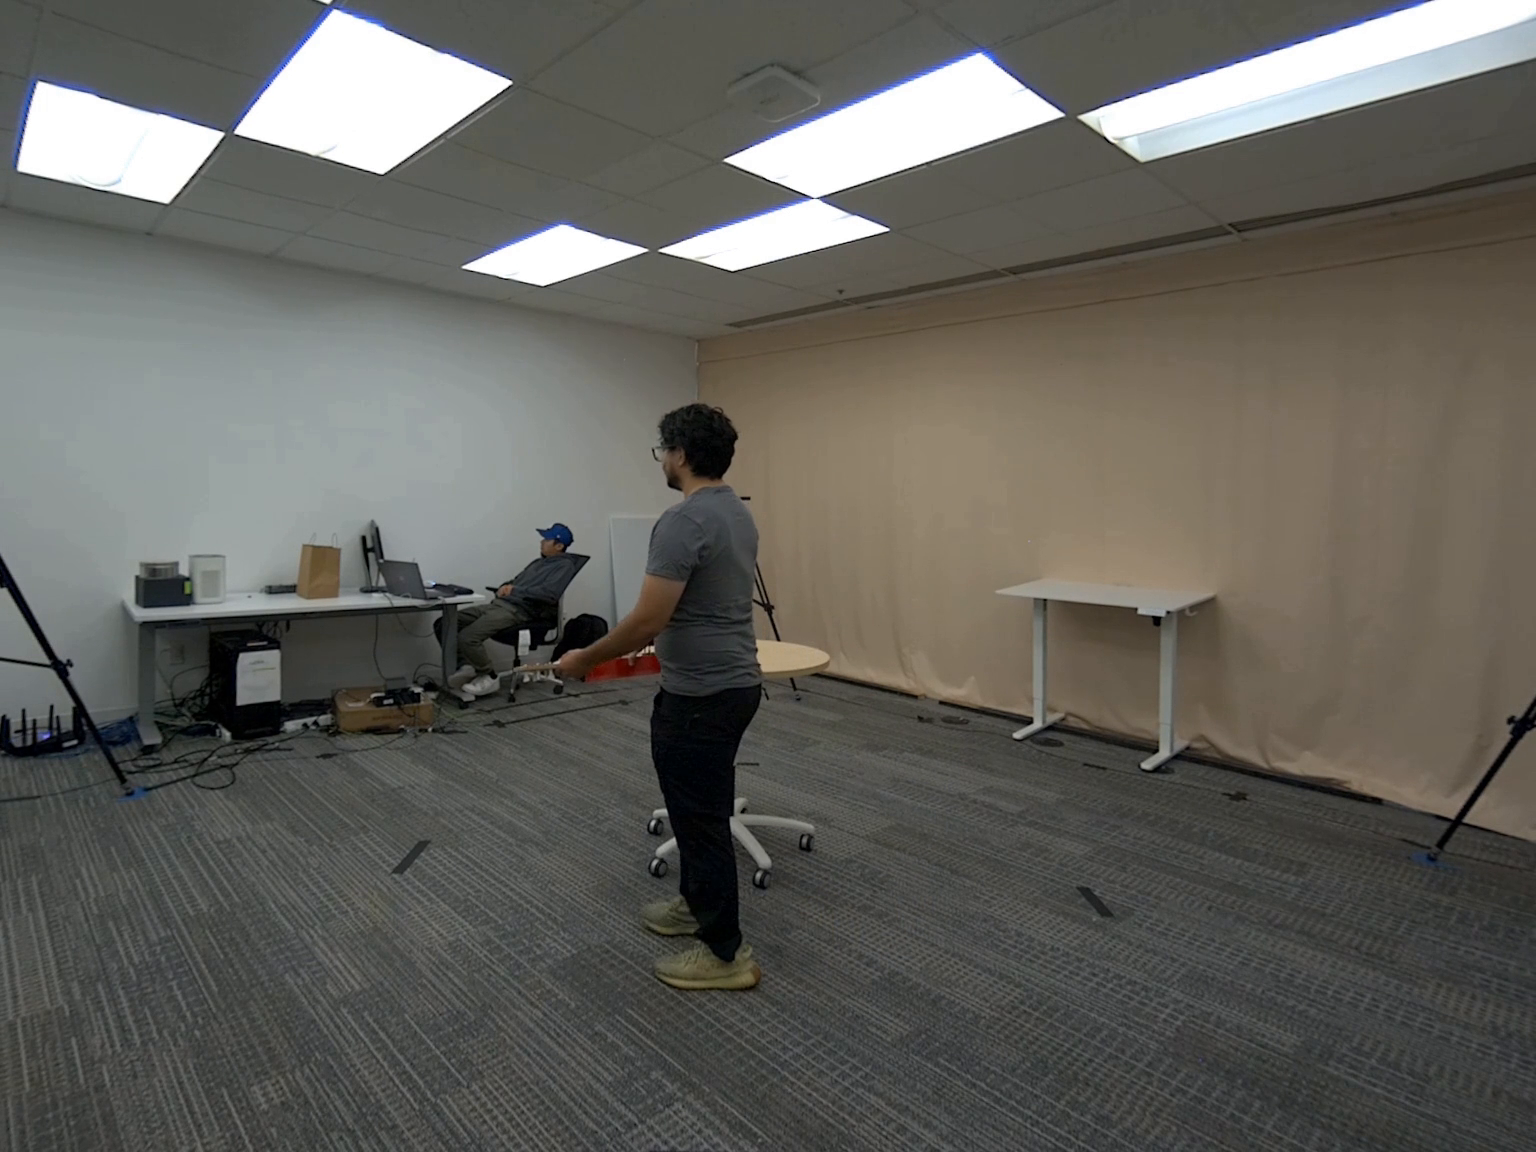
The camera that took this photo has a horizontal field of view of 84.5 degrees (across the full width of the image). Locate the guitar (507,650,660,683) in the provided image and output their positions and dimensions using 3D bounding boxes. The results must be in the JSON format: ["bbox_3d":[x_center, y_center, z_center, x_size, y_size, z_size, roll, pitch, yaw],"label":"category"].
[{"bbox_3d":[-0.538,0.290,2.525,0.489,0.071,0.195,-3,-8,-27],"label":"guitar"}]
